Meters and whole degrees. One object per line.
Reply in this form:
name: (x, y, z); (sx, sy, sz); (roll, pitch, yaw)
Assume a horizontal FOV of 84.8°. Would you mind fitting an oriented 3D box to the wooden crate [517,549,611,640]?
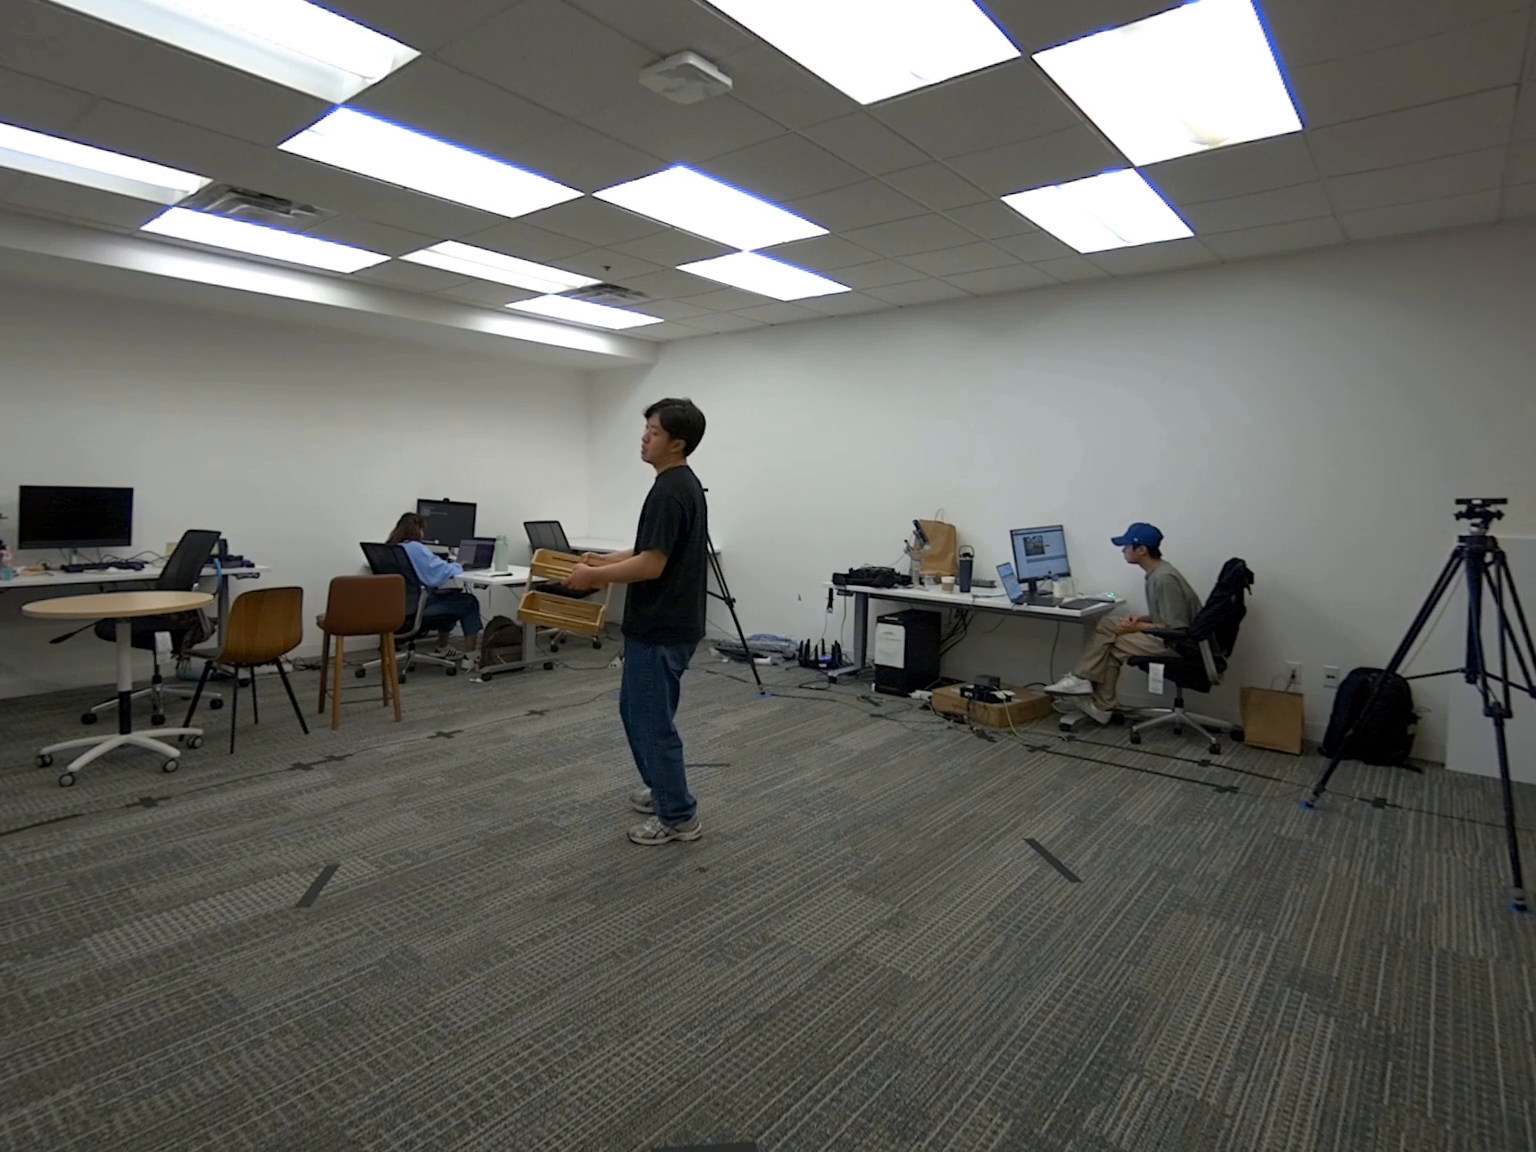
wooden crate: (-0.788, 0.057, 3.288); (0.323, 0.273, 0.304); (12, 1, -5)
